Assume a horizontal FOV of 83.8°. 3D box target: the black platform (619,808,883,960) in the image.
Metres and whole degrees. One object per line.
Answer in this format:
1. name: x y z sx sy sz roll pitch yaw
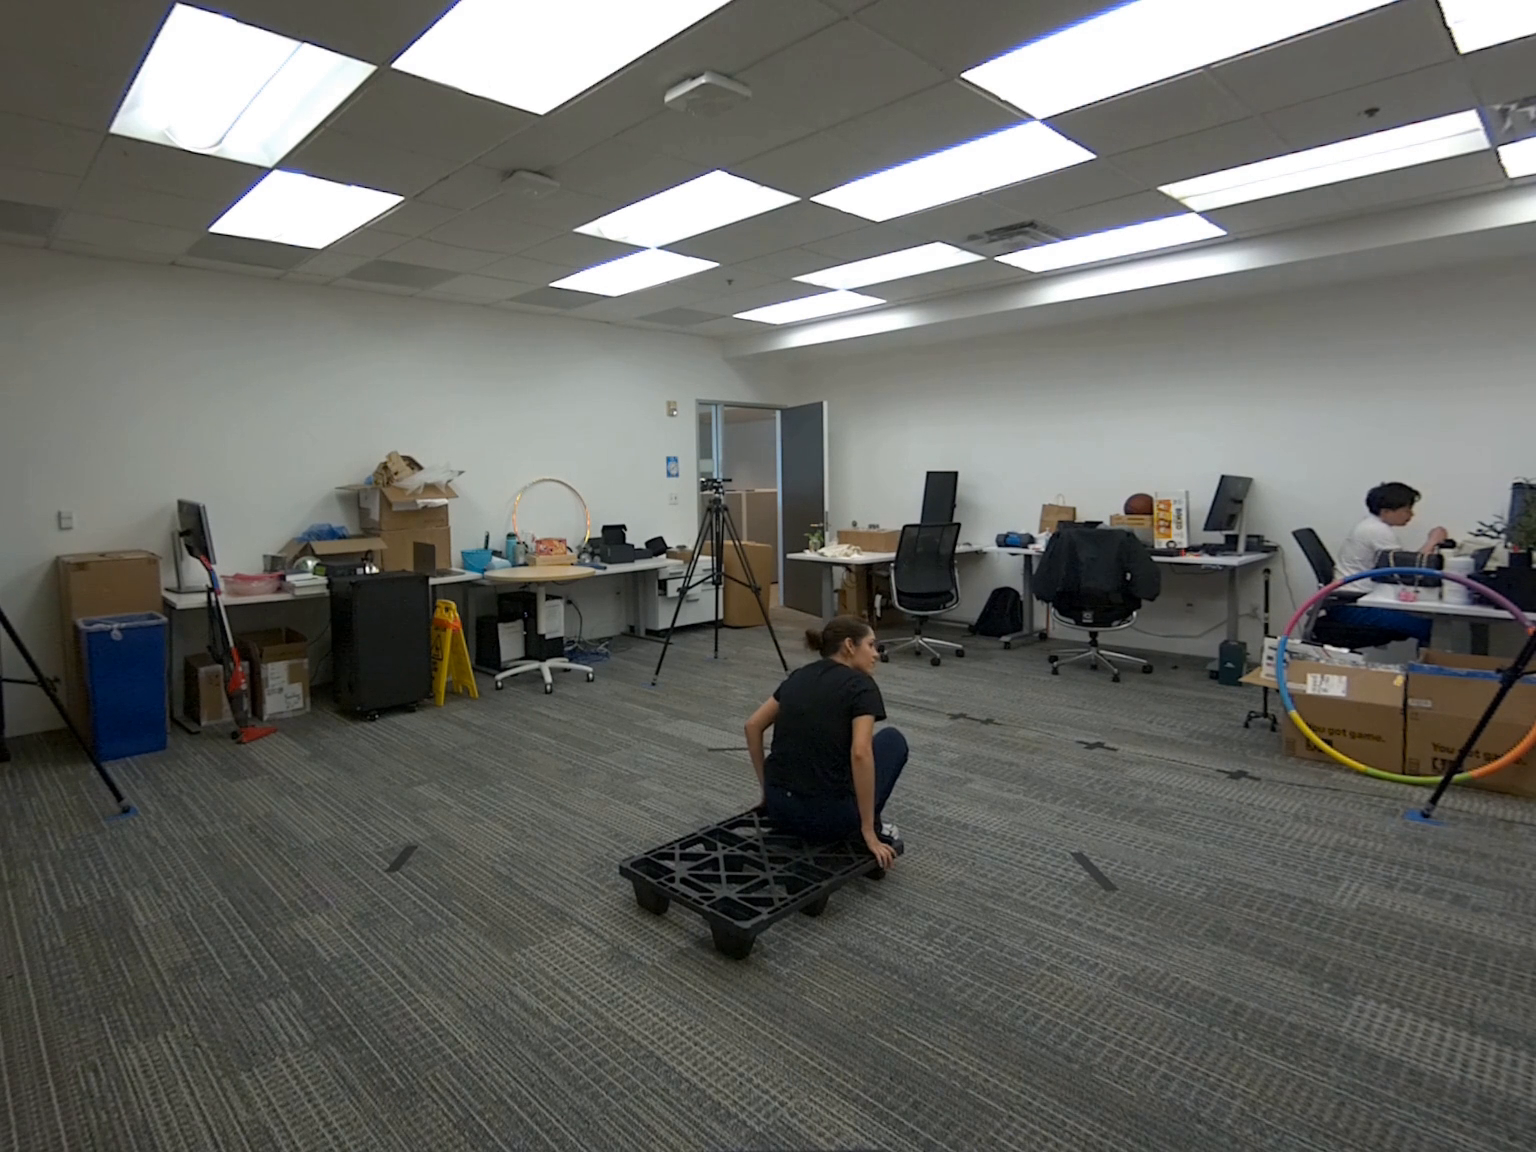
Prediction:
1. black platform: -0.007 1.005 2.900 0.624 0.142 0.785 6 9 44
